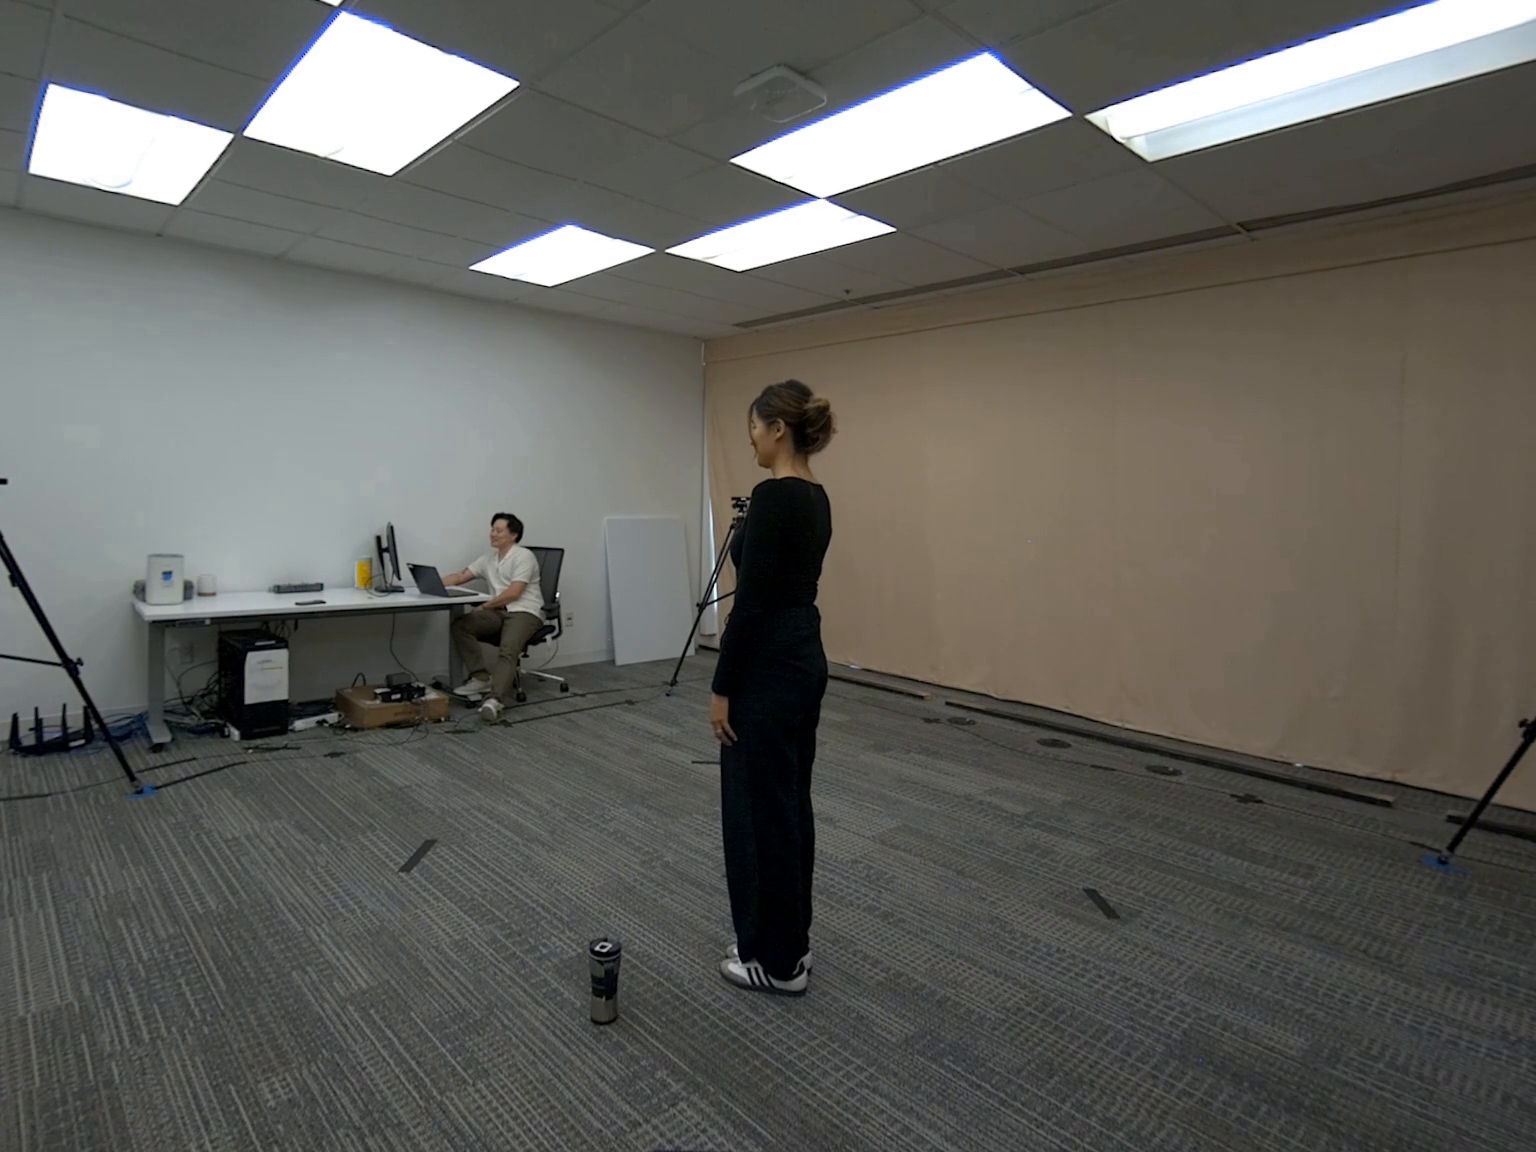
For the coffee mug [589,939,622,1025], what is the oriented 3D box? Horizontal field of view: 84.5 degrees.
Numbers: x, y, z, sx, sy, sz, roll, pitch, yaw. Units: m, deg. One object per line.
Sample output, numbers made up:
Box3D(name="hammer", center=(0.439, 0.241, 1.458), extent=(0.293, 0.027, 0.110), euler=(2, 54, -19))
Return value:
Box3D(name="coffee mug", center=(-0.455, 1.089, 2.208), extent=(0.088, 0.203, 0.121), euler=(3, 1, 4))
